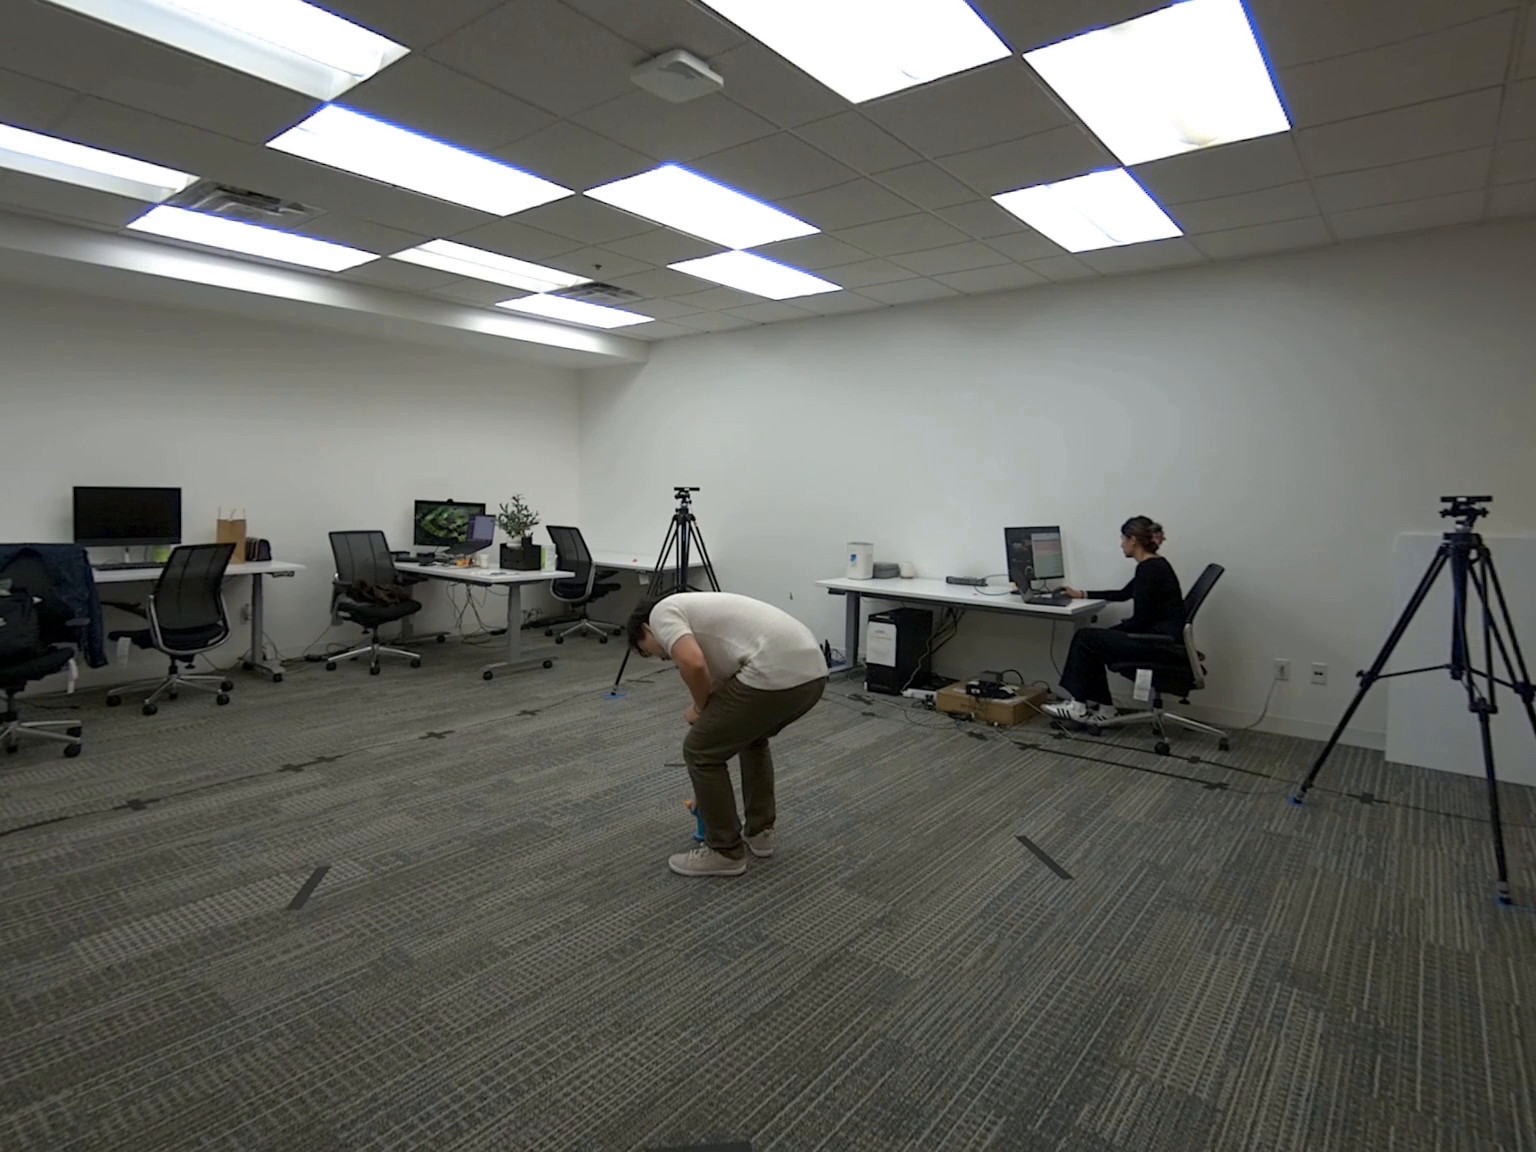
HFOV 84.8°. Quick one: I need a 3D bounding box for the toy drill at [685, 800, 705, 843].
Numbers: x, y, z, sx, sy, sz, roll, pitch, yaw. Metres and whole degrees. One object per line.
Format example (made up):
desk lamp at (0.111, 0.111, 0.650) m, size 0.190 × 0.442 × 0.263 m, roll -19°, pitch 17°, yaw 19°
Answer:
toy drill at (-0.294, 0.955, 3.395) m, size 0.059 × 0.145 × 0.176 m, roll -1°, pitch 5°, yaw -40°
